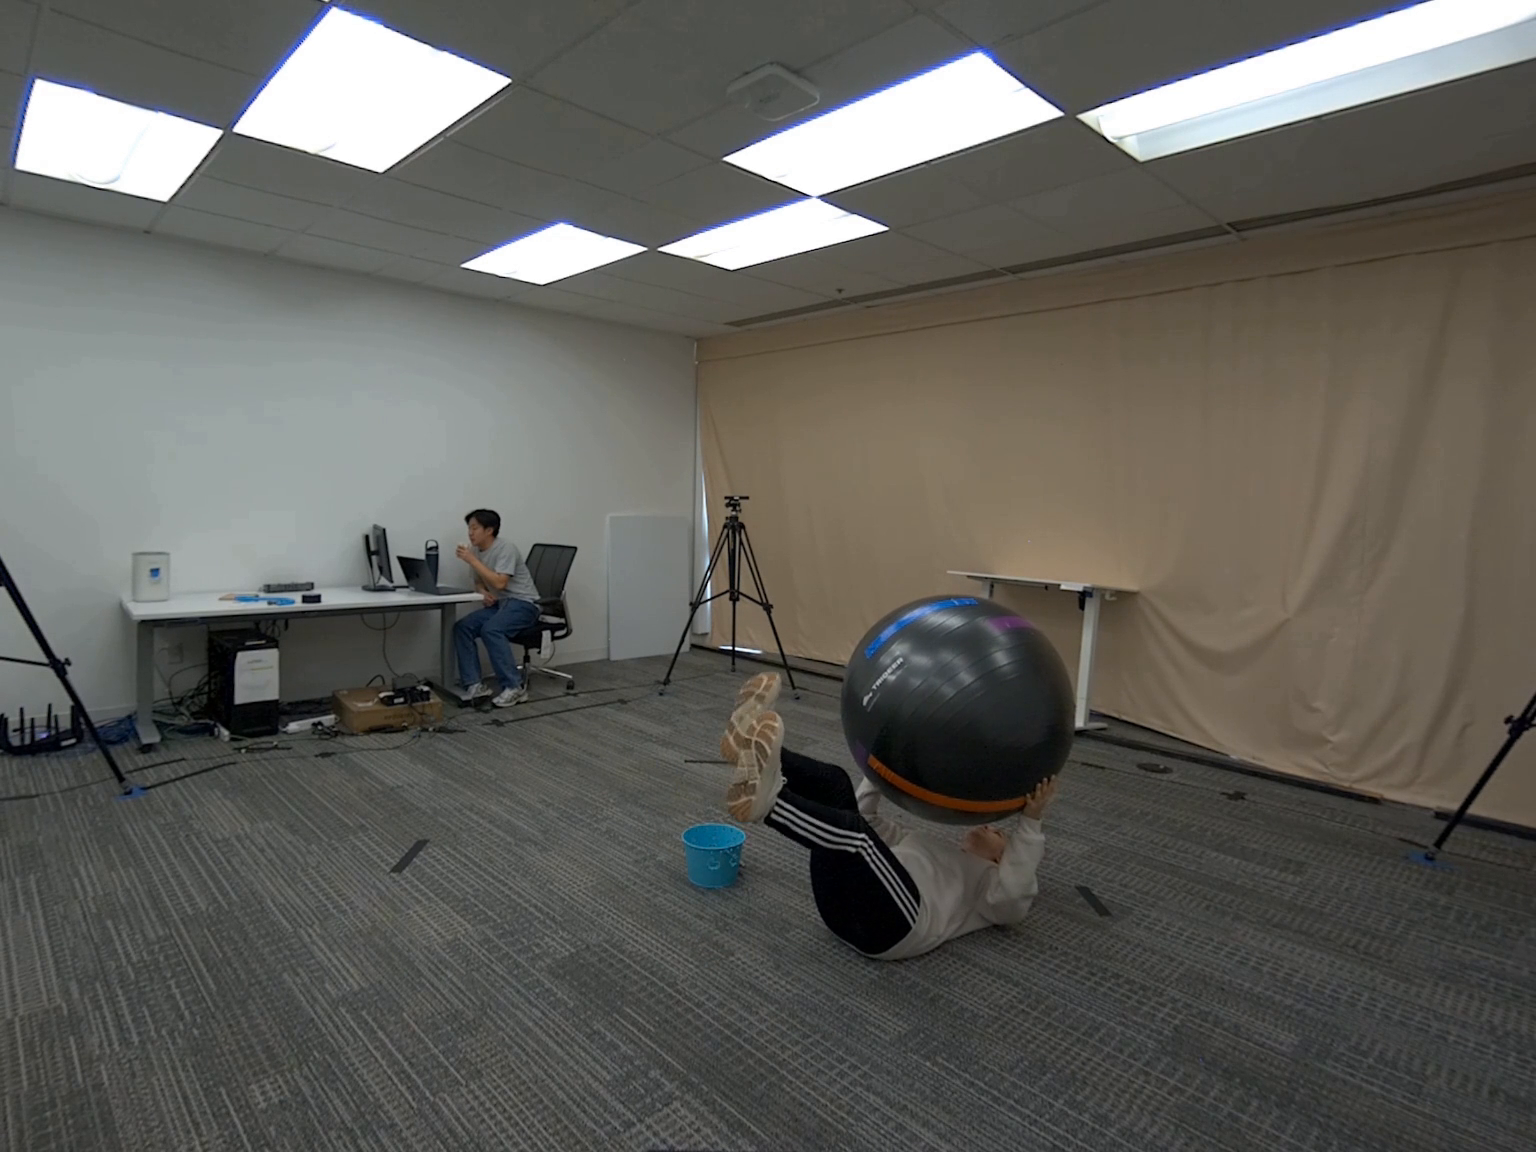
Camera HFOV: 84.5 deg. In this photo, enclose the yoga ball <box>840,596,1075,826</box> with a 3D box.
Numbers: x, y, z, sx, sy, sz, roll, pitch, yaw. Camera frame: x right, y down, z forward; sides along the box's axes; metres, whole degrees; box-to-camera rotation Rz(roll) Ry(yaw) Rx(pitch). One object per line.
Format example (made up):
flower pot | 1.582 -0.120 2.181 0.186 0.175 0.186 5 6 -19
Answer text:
yoga ball | 0.626 0.444 2.828 0.757 0.756 0.761 1 4 -1
